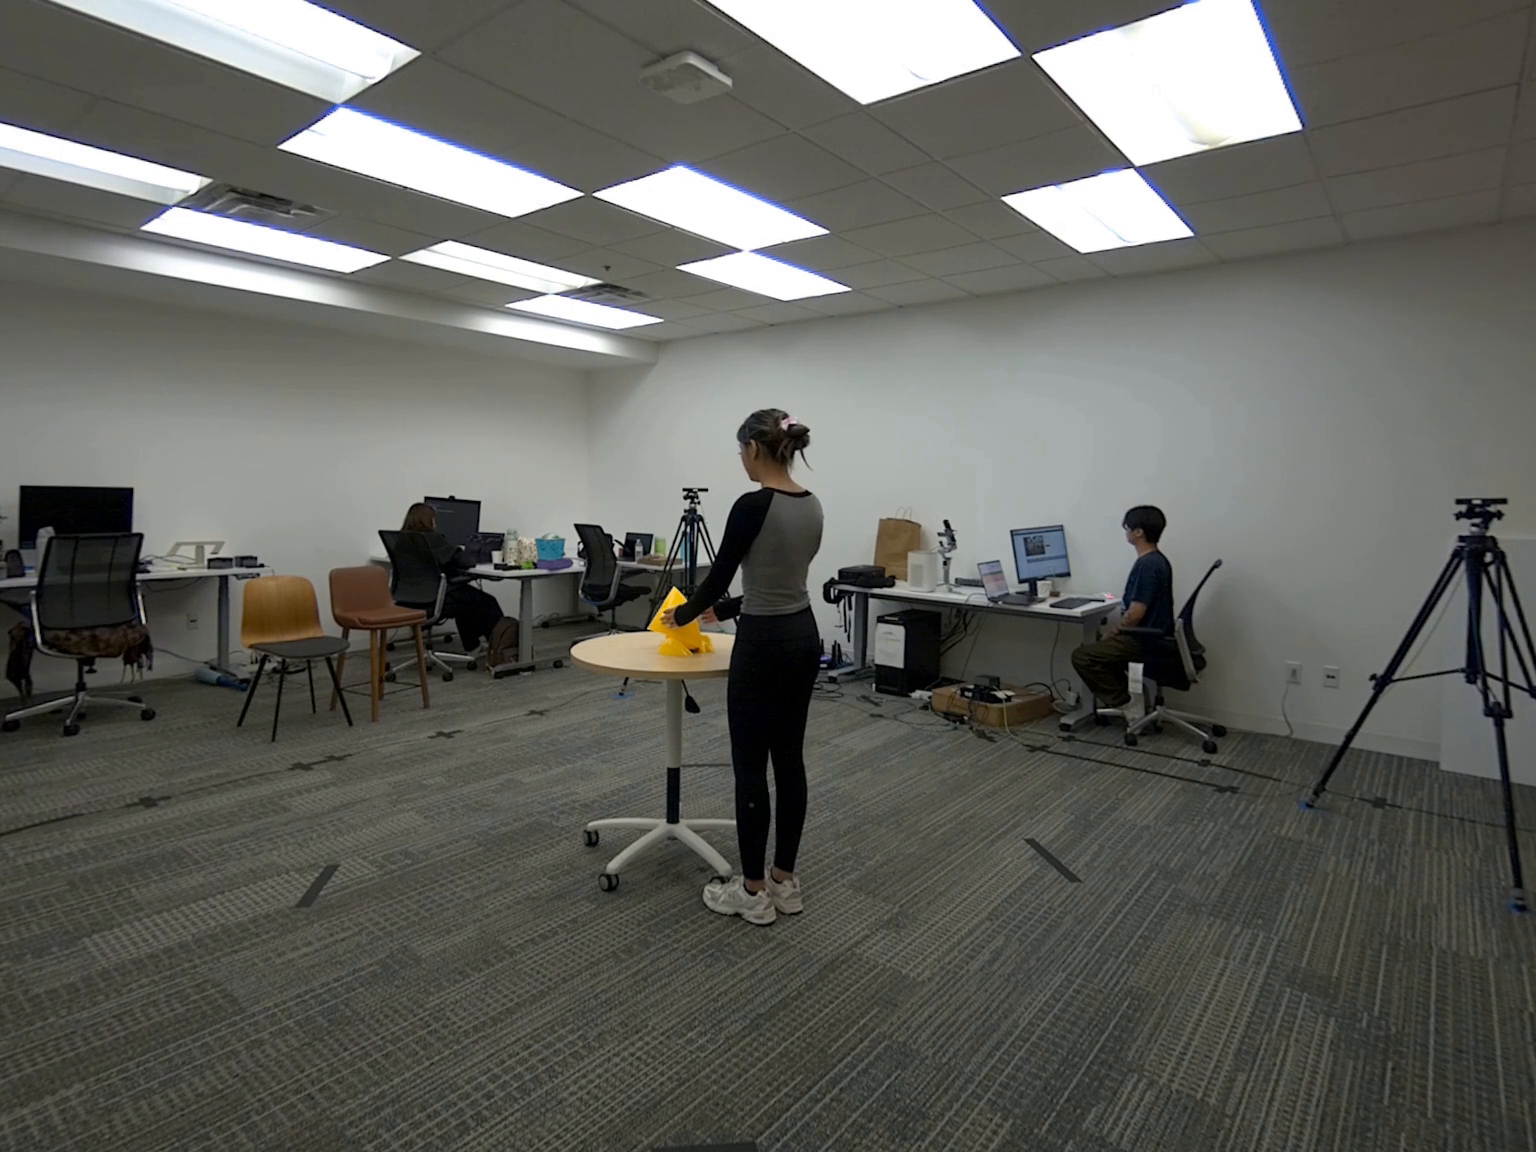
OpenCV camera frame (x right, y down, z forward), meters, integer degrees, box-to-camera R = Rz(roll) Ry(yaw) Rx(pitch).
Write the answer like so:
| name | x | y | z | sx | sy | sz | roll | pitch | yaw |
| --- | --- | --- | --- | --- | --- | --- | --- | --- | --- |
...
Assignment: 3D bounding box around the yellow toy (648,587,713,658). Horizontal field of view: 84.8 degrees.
| name | x | y | z | sx | sy | sz | roll | pitch | yaw |
| --- | --- | --- | --- | --- | --- | --- | --- | --- | --- |
| yellow toy | -0.315 | 0.159 | 3.122 | 0.200 | 0.230 | 0.199 | 7 | 7 | 44 |
